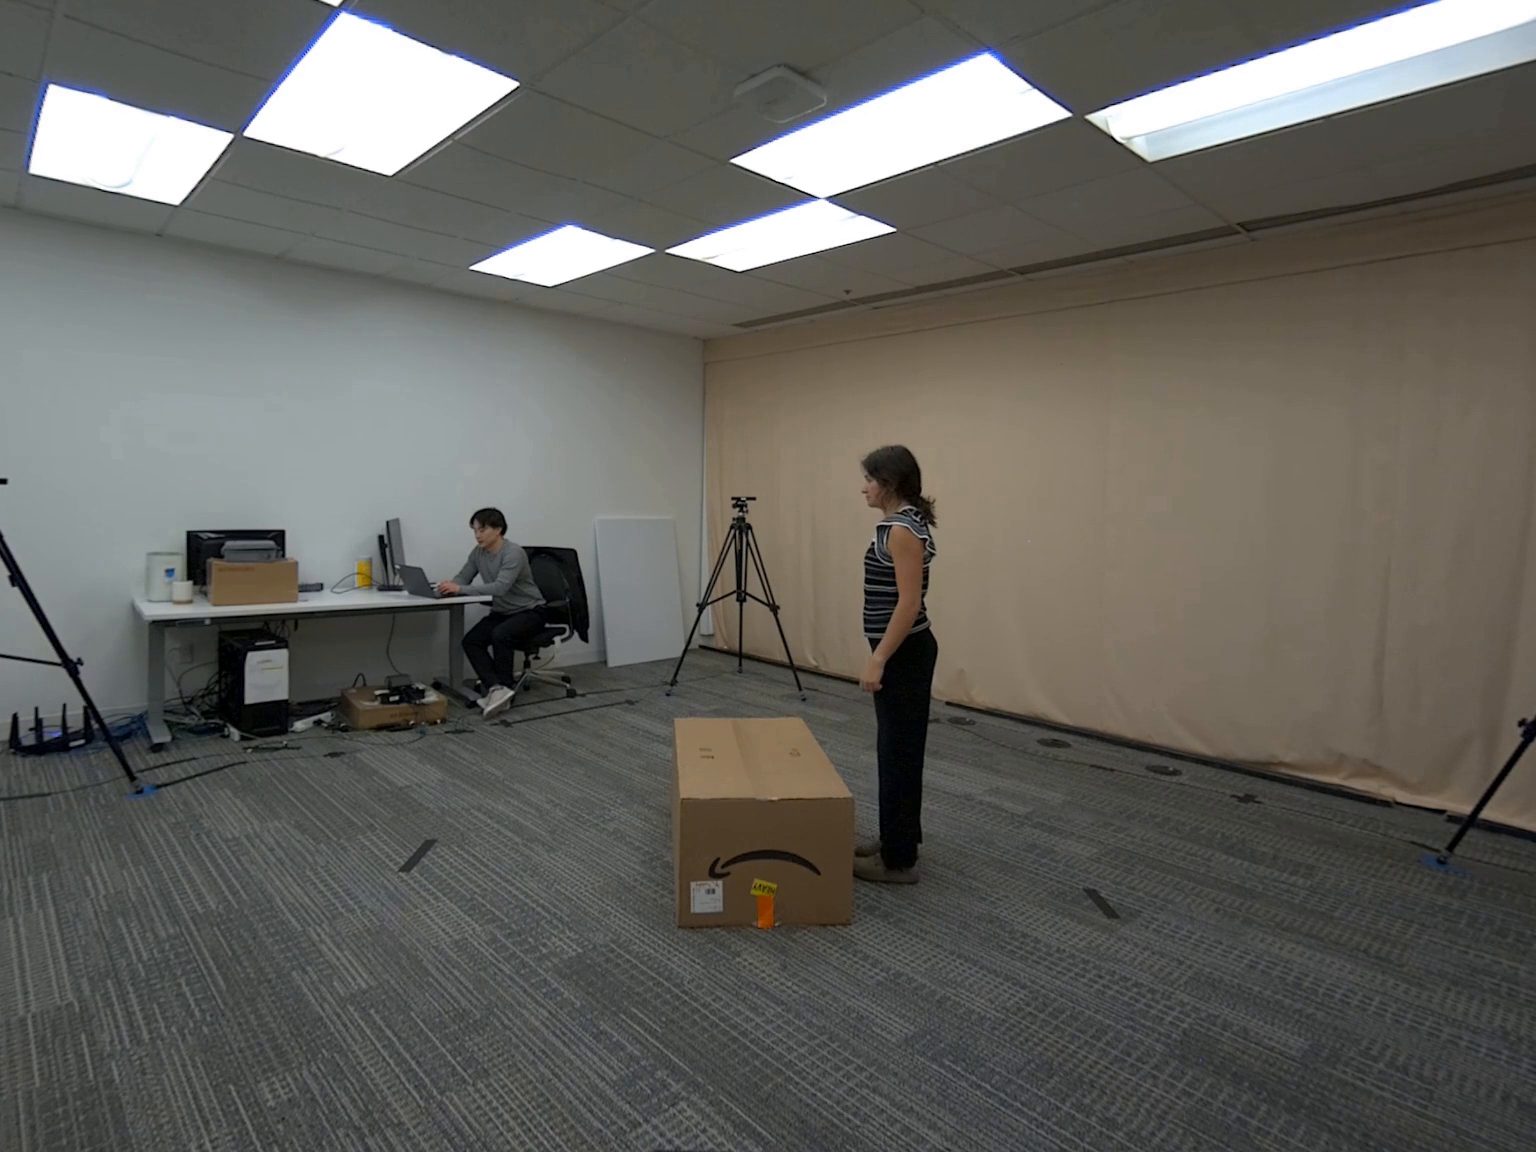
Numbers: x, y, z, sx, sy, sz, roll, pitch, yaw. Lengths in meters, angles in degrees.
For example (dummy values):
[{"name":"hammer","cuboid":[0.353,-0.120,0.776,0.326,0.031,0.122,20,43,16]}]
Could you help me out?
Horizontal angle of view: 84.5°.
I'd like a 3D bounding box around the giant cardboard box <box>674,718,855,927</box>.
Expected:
[{"name":"giant cardboard box","cuboid":[-0.077,0.887,3.232,0.575,0.425,1.034,1,5,-7]}]
